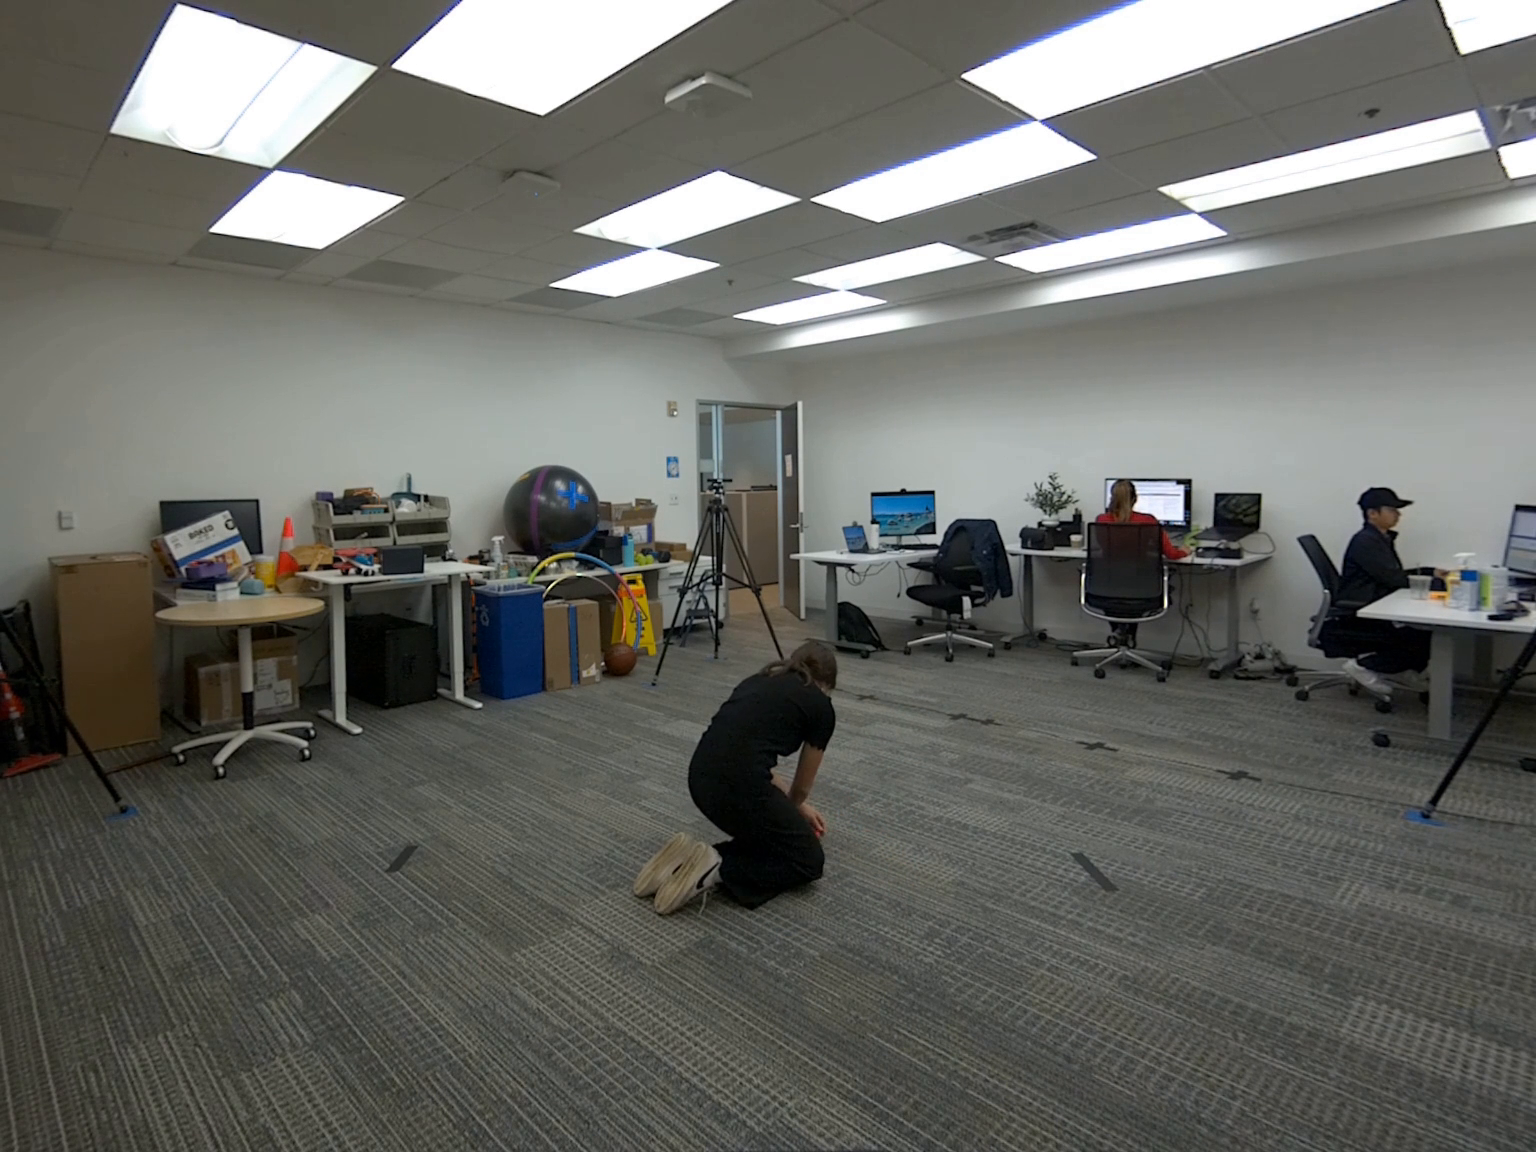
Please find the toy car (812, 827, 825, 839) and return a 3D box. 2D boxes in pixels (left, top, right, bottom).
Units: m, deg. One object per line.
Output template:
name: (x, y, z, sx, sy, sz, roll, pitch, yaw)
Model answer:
toy car: (0.129, 0.982, 3.359, 0.129, 0.082, 0.260, -2, 18, -9)
